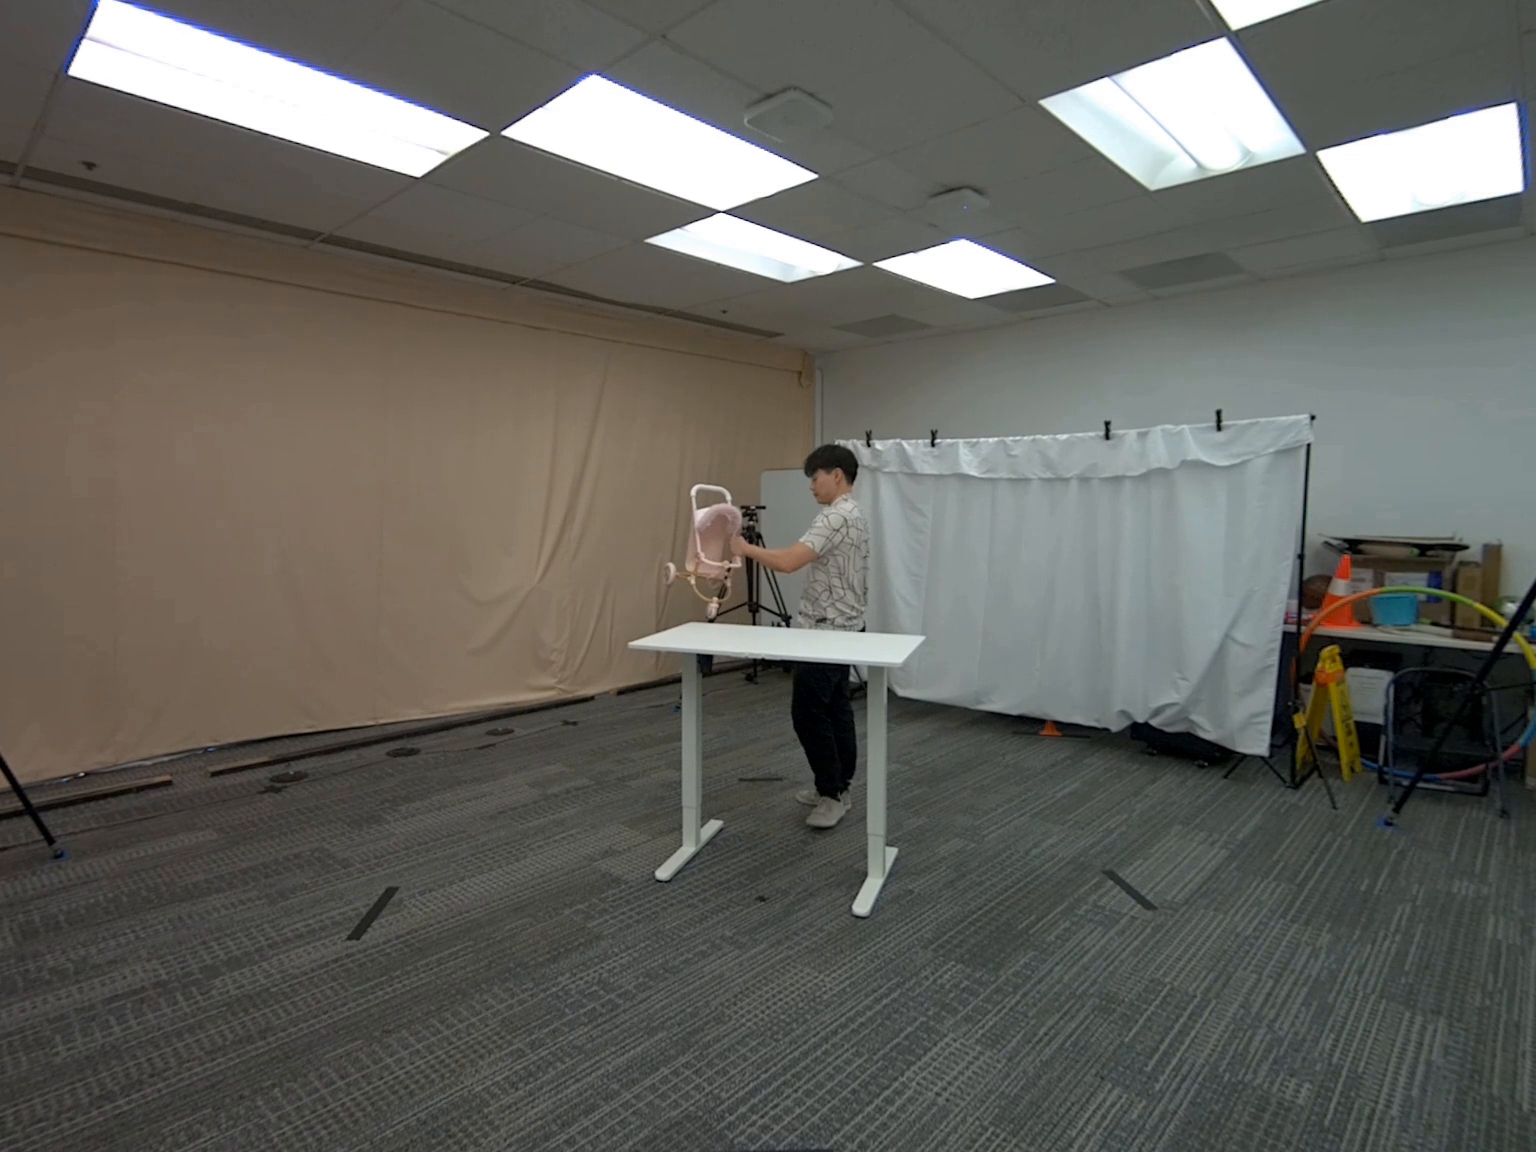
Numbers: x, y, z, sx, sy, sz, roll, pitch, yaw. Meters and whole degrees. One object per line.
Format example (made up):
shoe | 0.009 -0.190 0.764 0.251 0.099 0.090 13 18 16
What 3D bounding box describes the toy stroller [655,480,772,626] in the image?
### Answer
toy stroller | -0.256 -0.106 3.783 0.273 0.532 0.353 8 15 -29
